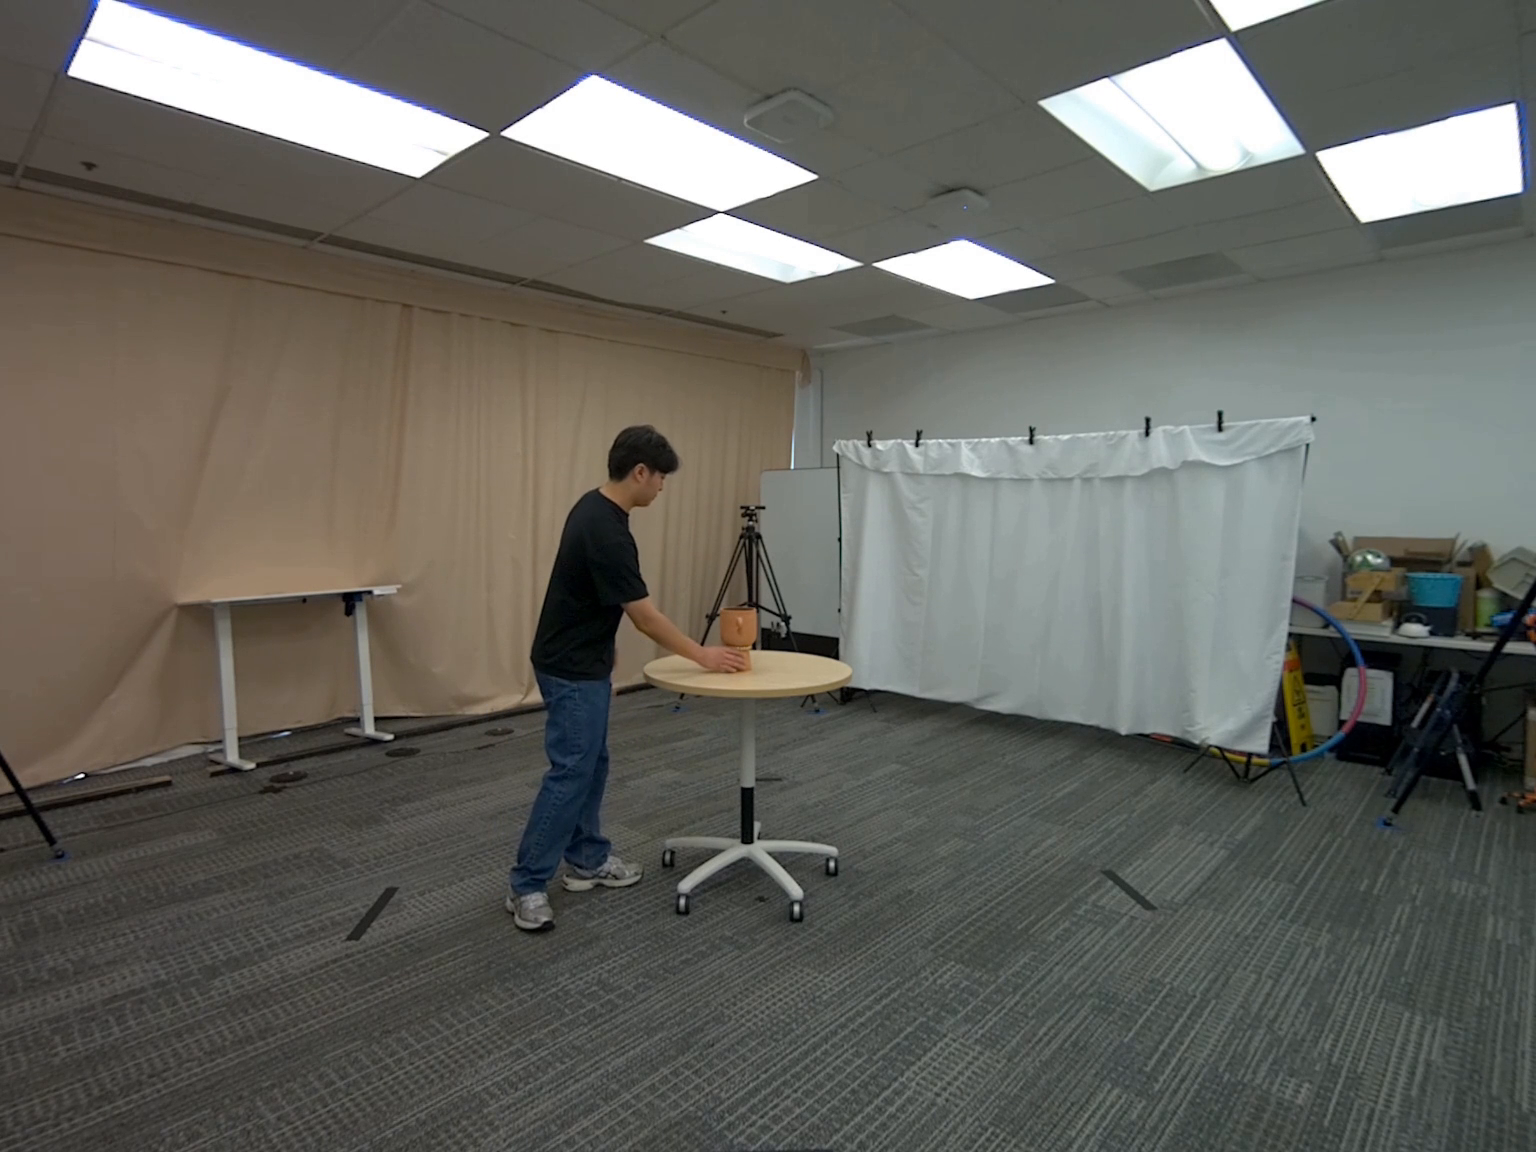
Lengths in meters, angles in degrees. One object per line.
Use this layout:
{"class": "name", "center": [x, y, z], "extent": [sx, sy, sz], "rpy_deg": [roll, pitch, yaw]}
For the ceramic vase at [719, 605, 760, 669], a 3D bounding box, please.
{"class": "ceramic vase", "center": [-0.108, 0.231, 3.068], "extent": [0.139, 0.219, 0.154], "rpy_deg": [3, 5, 34]}
